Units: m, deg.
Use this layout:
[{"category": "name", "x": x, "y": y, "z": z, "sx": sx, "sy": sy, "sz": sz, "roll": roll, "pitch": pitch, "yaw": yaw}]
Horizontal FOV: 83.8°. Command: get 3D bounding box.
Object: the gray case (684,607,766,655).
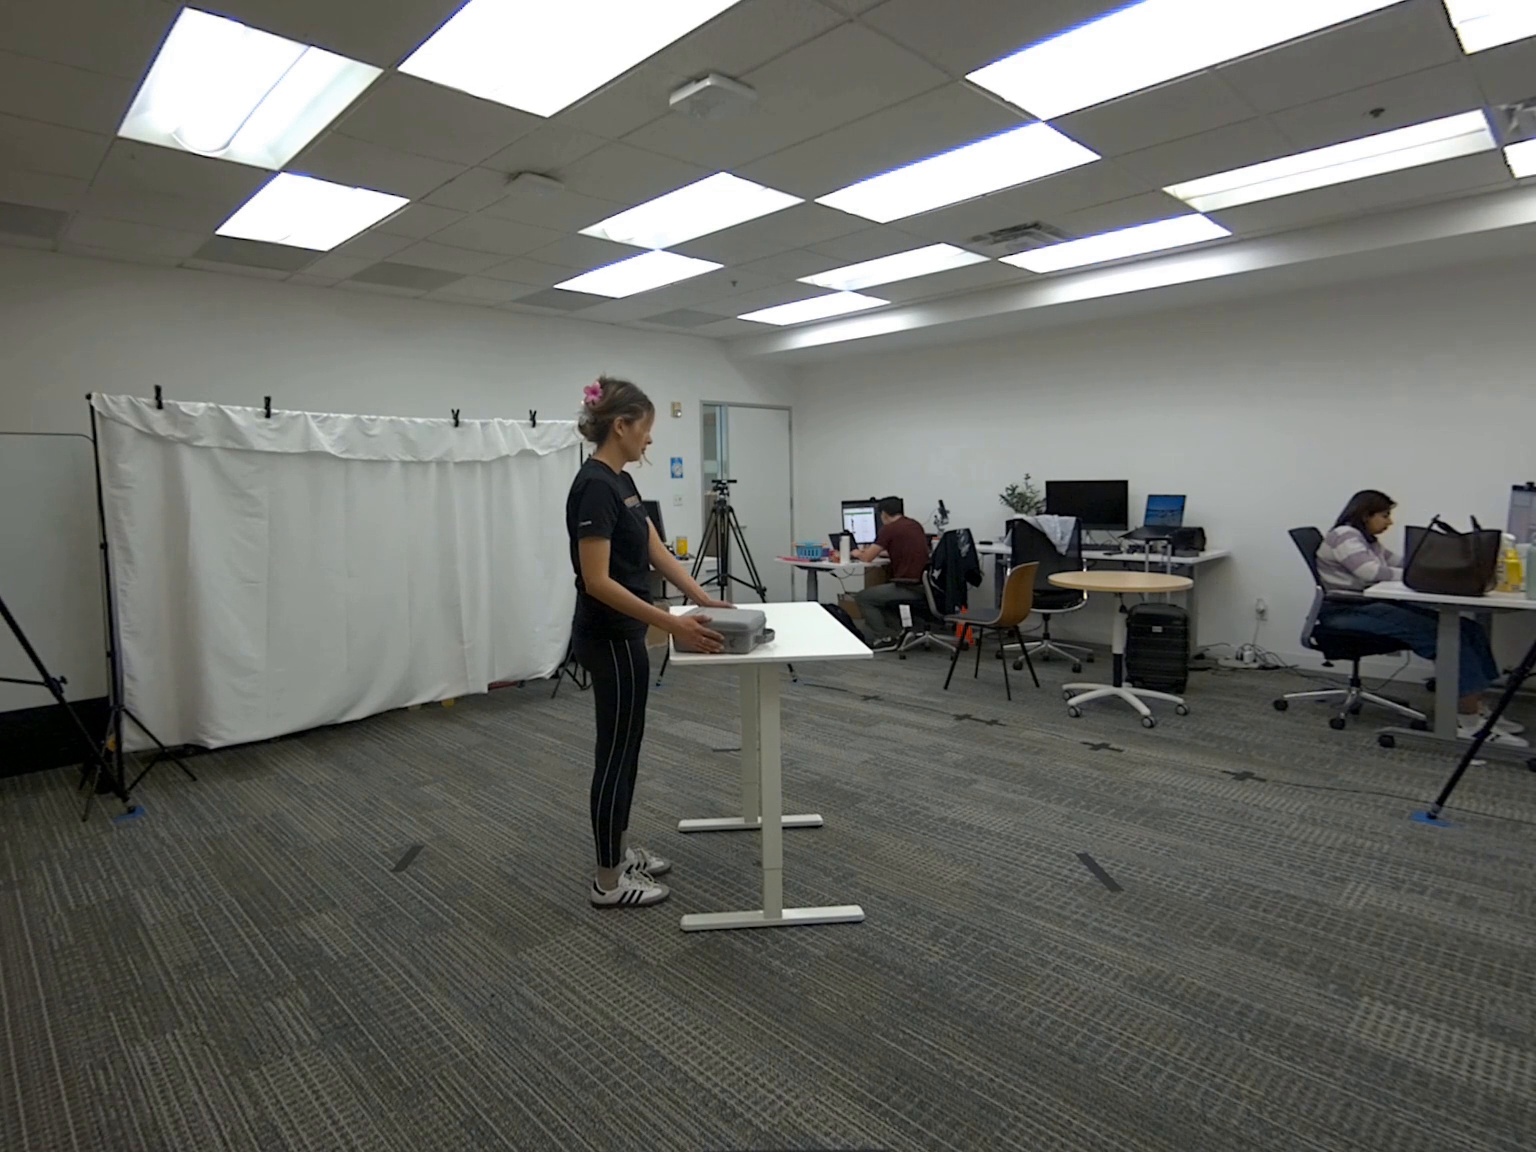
[{"category": "gray case", "x": -0.144, "y": 0.172, "z": 2.660, "sx": 0.264, "sy": 0.104, "sz": 0.255, "roll": 1, "pitch": 7, "yaw": 13}]
